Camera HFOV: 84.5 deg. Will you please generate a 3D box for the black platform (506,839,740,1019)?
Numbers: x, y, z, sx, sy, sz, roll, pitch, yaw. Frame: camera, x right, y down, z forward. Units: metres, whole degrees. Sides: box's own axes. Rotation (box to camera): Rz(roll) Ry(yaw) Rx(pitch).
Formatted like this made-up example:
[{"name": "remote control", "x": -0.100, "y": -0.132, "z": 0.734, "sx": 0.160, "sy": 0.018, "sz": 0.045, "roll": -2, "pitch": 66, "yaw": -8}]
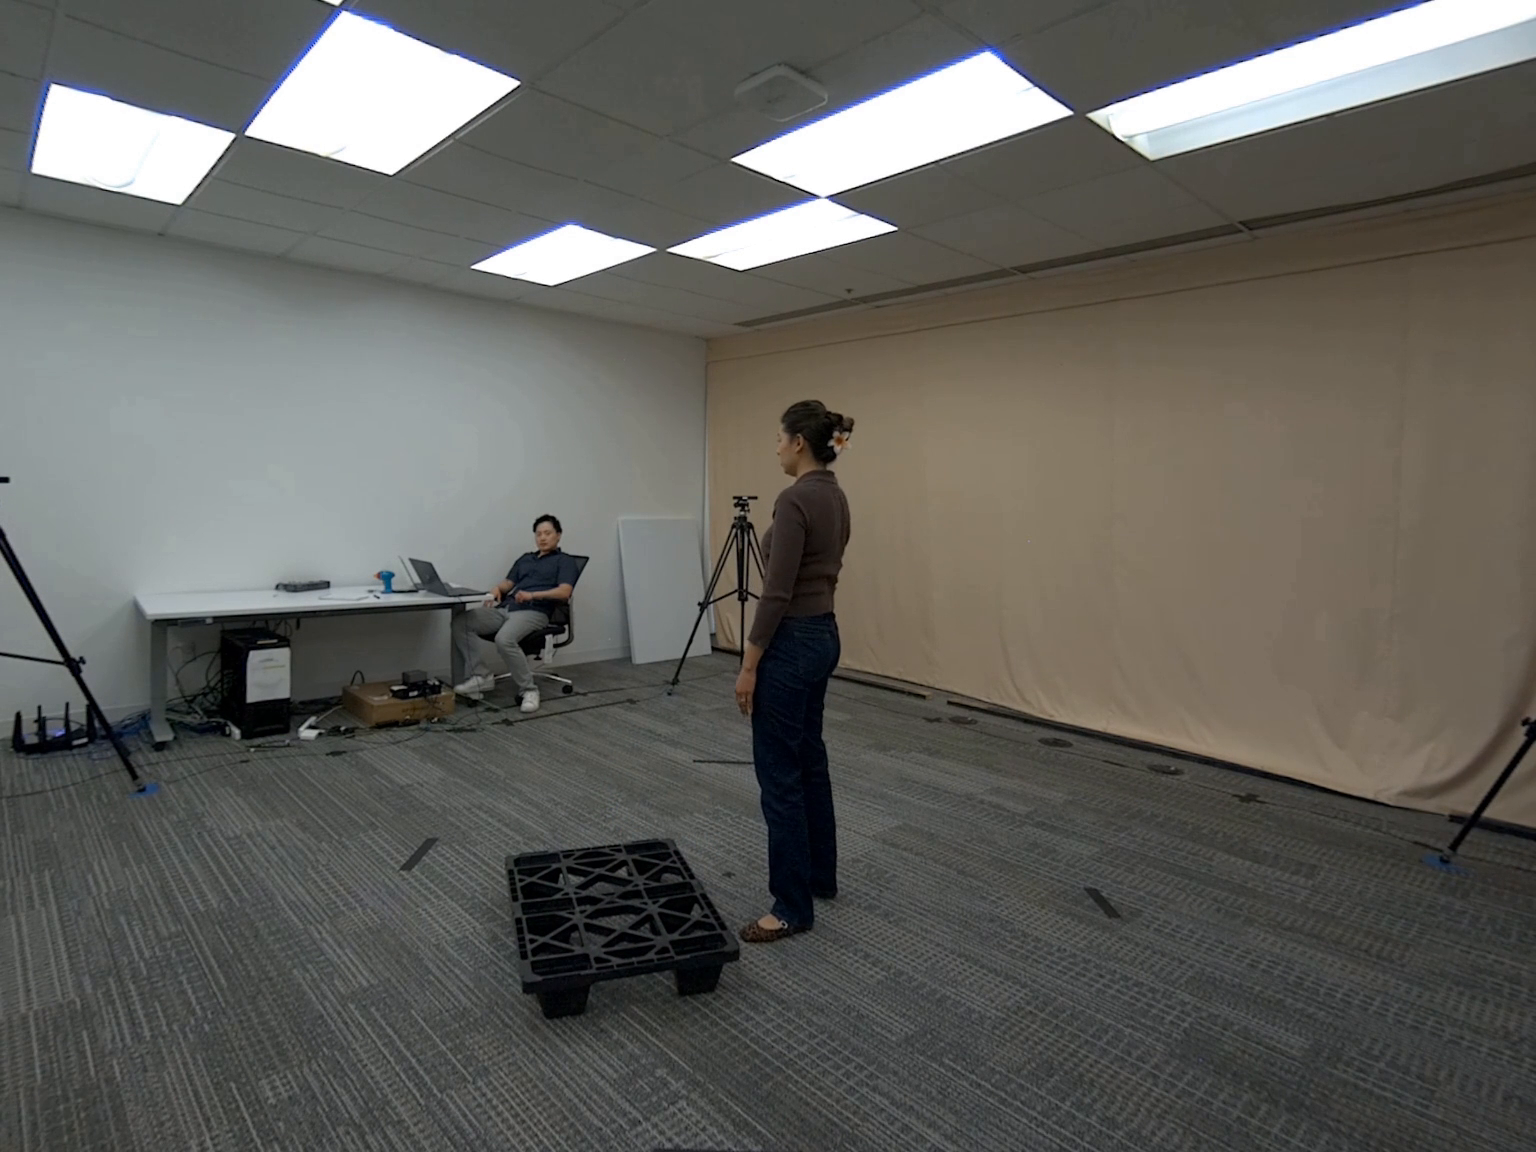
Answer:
[{"name": "black platform", "x": -0.502, "y": 1.071, "z": 2.629, "sx": 0.596, "sy": 0.143, "sz": 0.820, "roll": -2, "pitch": 6, "yaw": -20}]
